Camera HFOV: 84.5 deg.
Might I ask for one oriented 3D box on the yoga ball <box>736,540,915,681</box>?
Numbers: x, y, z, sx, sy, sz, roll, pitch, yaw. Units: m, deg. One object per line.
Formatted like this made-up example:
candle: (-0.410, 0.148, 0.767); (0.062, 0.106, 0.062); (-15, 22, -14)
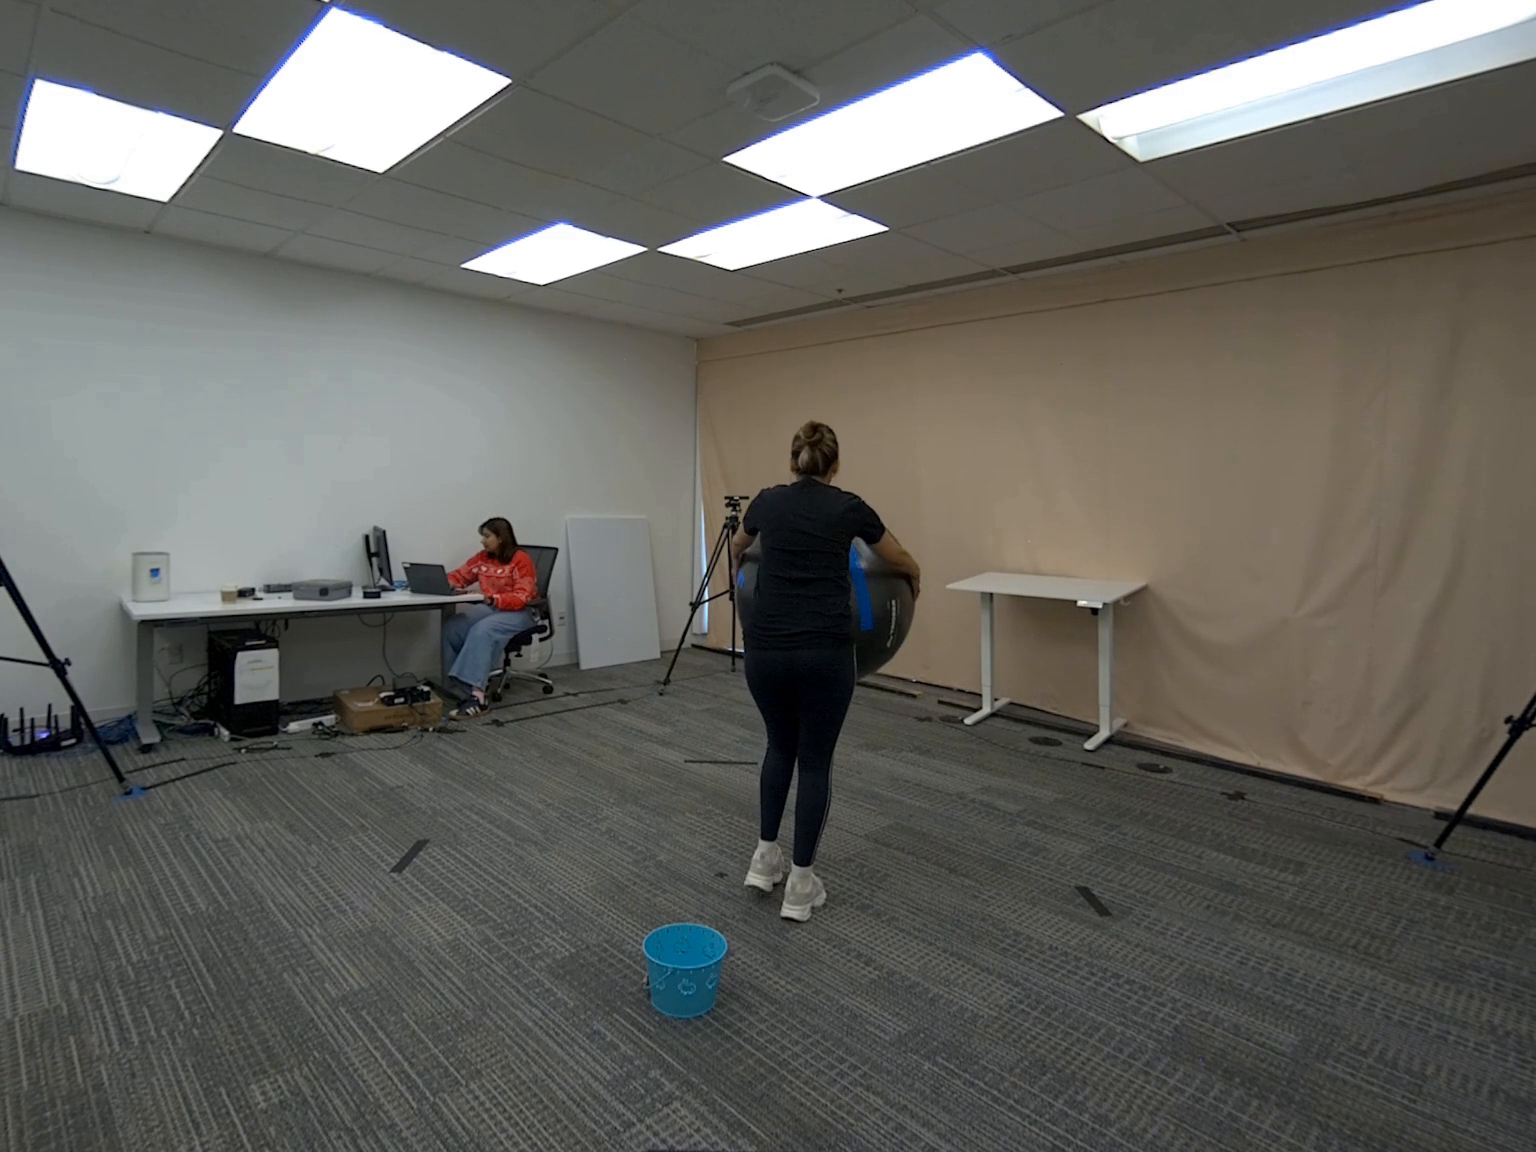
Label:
yoga ball: (0.230, 0.088, 3.536); (0.757, 0.756, 0.761); (1, 4, -1)
